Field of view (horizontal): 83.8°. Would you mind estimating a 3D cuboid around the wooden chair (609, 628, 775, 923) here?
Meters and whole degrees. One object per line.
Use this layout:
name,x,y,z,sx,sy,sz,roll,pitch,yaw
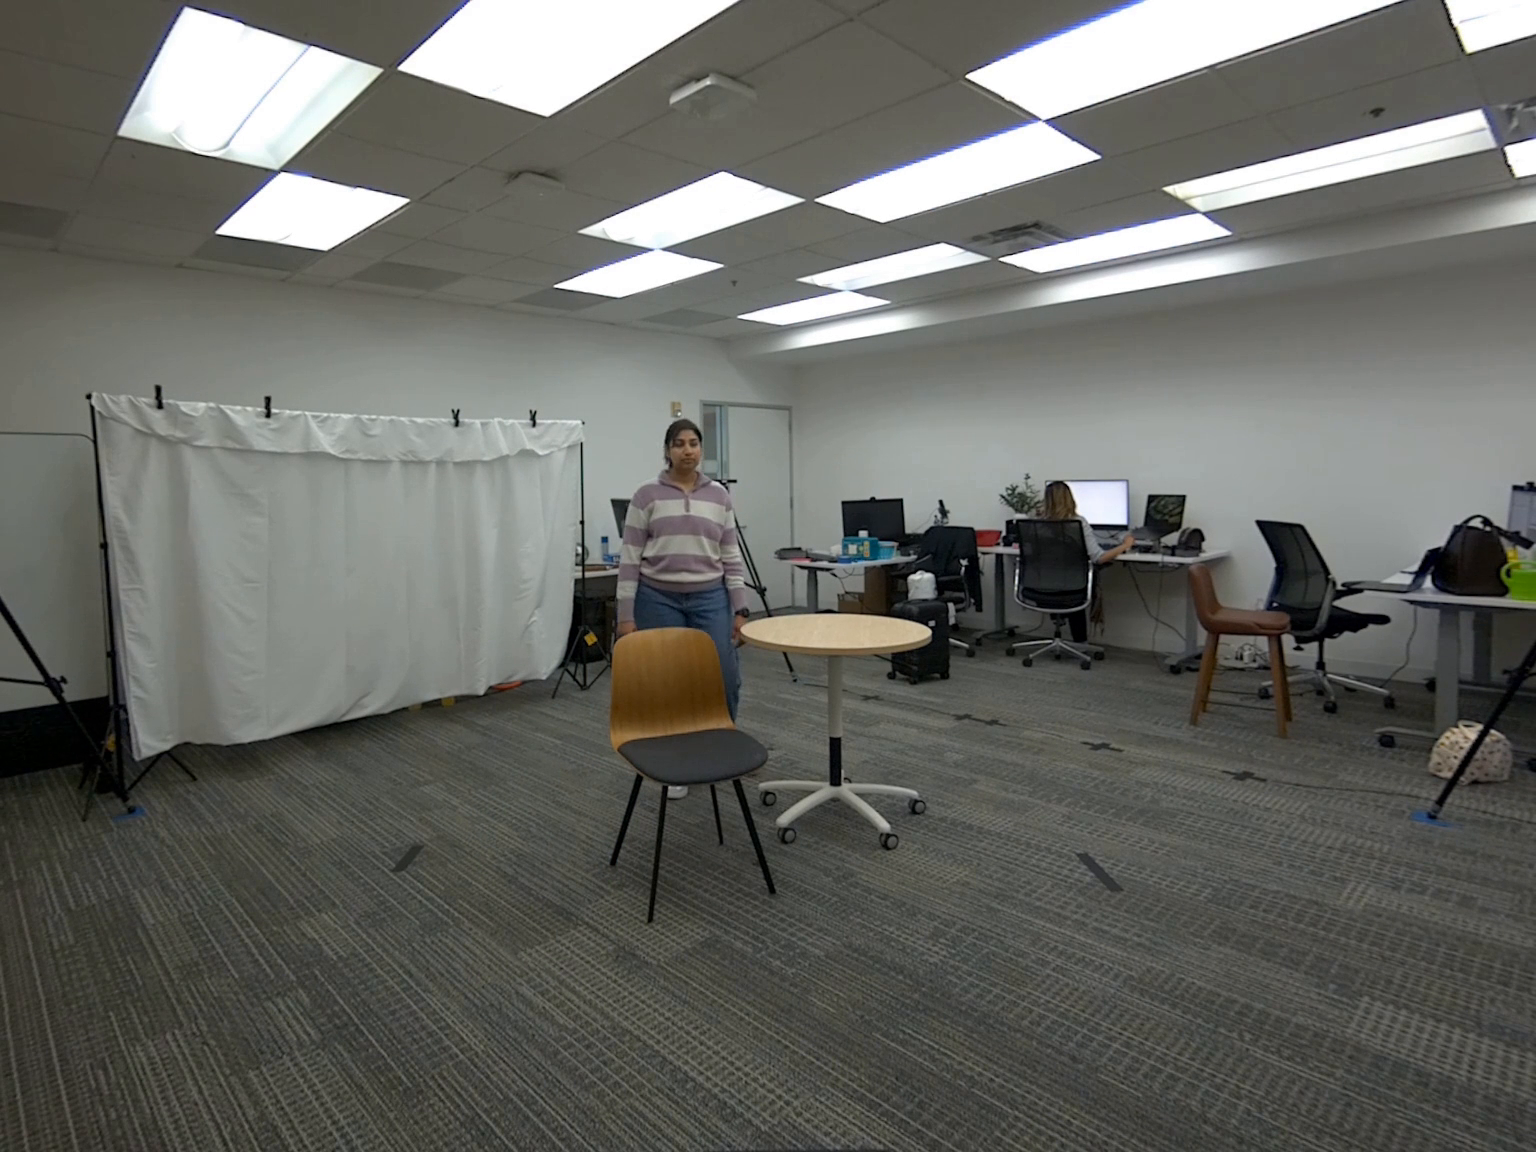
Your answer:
wooden chair,-0.281,0.645,2.955,0.468,0.877,0.534,-3,0,-25
